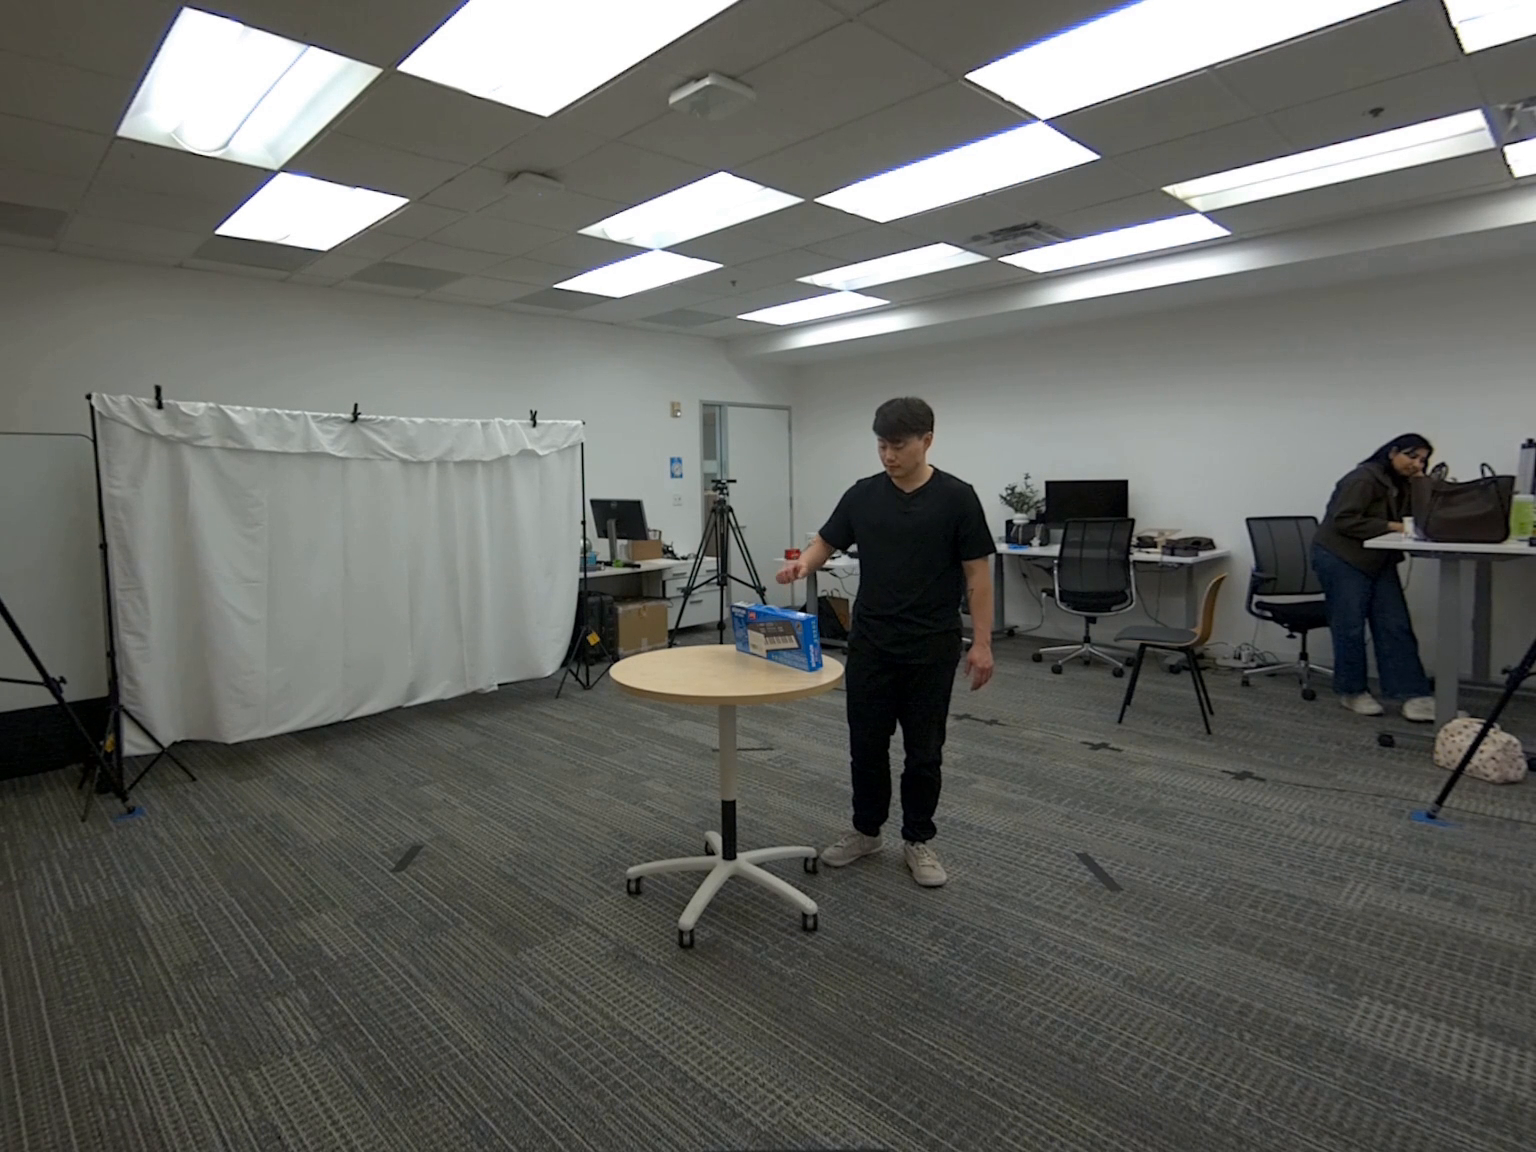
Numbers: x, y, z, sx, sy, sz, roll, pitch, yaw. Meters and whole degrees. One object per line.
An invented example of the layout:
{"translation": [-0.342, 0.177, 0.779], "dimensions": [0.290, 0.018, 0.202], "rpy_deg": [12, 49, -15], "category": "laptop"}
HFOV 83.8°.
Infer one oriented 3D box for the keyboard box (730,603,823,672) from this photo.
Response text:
{"translation": [0.025, 0.199, 2.899], "dimensions": [0.058, 0.174, 0.449], "rpy_deg": [-10, 10, -32], "category": "keyboard box"}
